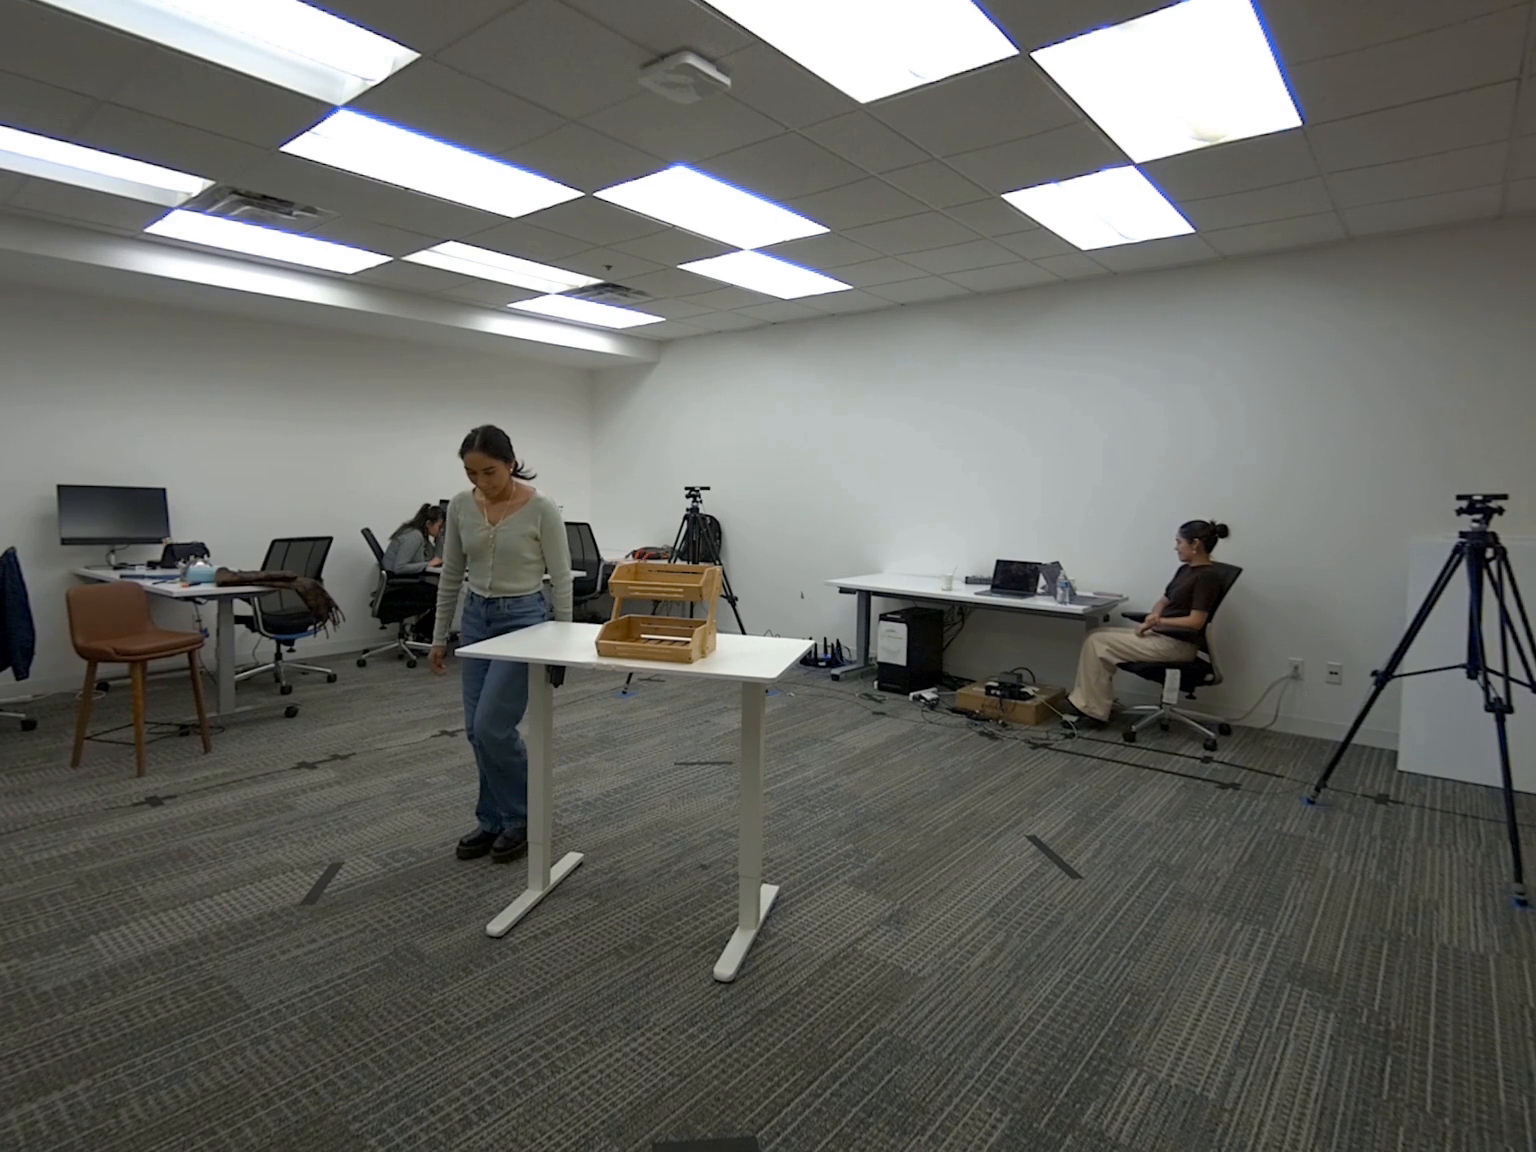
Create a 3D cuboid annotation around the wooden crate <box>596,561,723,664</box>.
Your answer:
[{"bbox_3d":[-0.335,0.101,2.610,0.330,0.272,0.298,3,4,14],"label":"wooden crate"}]
